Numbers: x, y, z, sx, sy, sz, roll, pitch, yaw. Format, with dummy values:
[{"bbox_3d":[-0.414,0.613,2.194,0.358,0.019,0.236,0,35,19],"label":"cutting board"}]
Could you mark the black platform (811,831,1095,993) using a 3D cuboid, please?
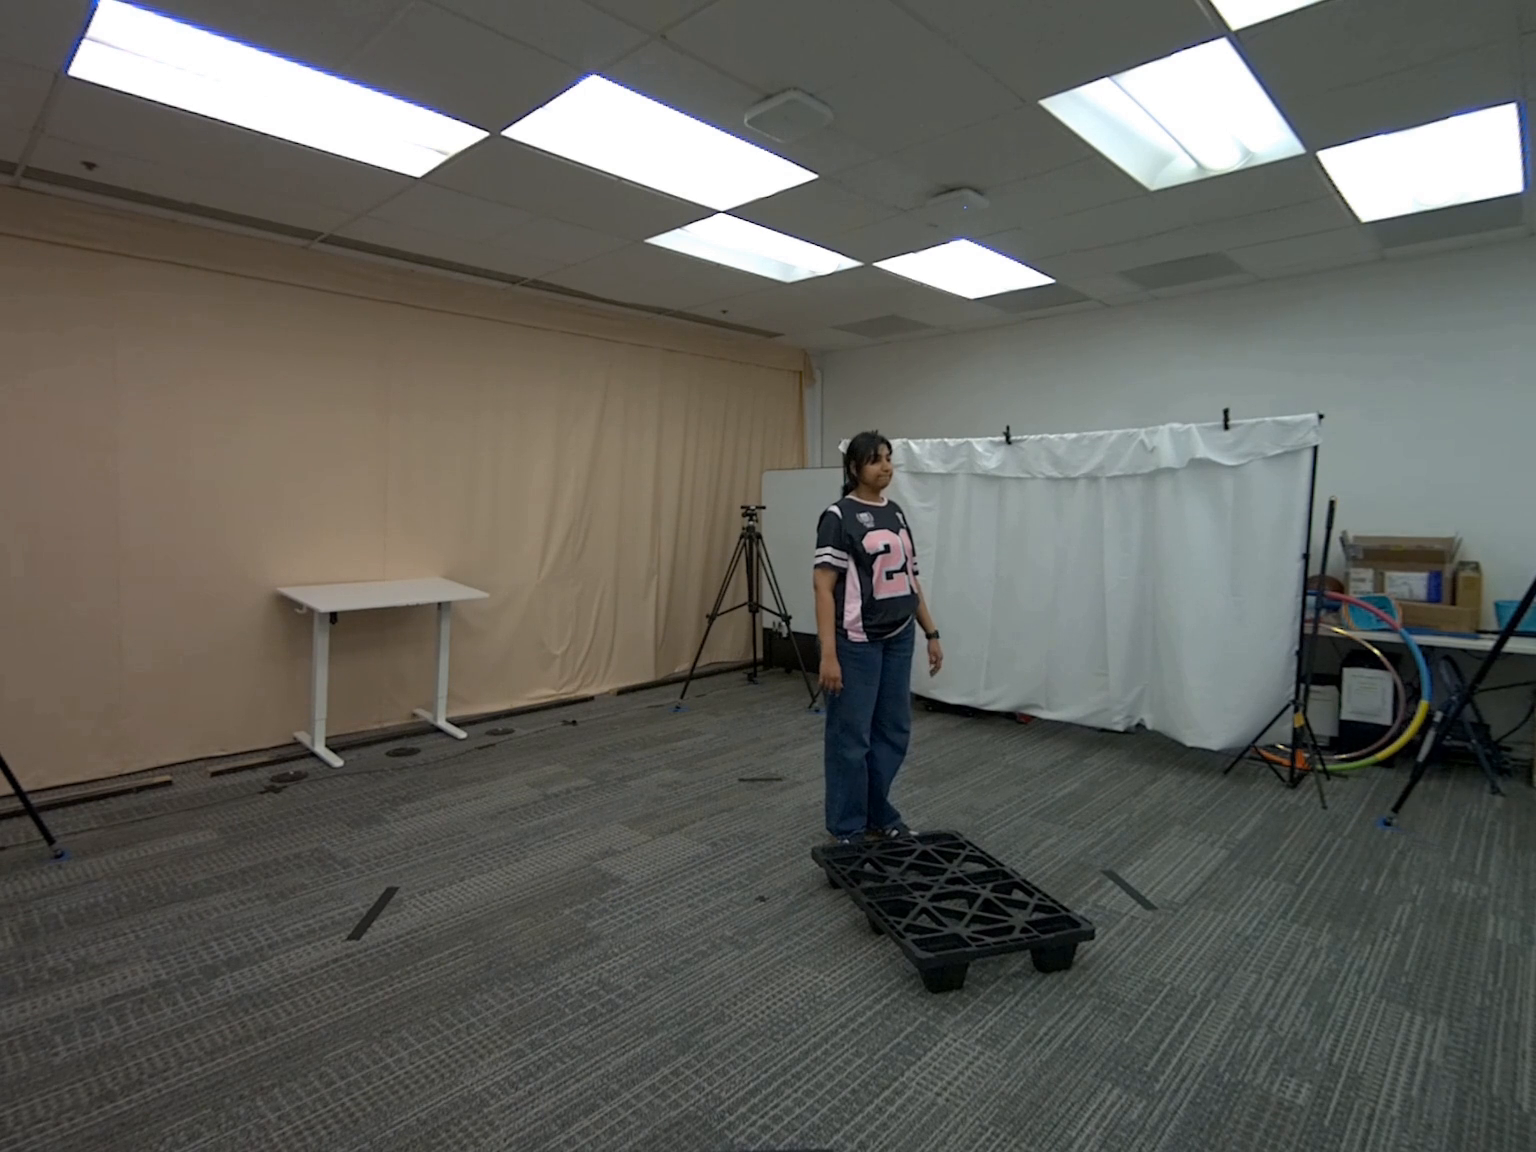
[{"bbox_3d":[0.574,1.085,2.814,0.595,0.143,0.821,-1,5,-17],"label":"black platform"}]
